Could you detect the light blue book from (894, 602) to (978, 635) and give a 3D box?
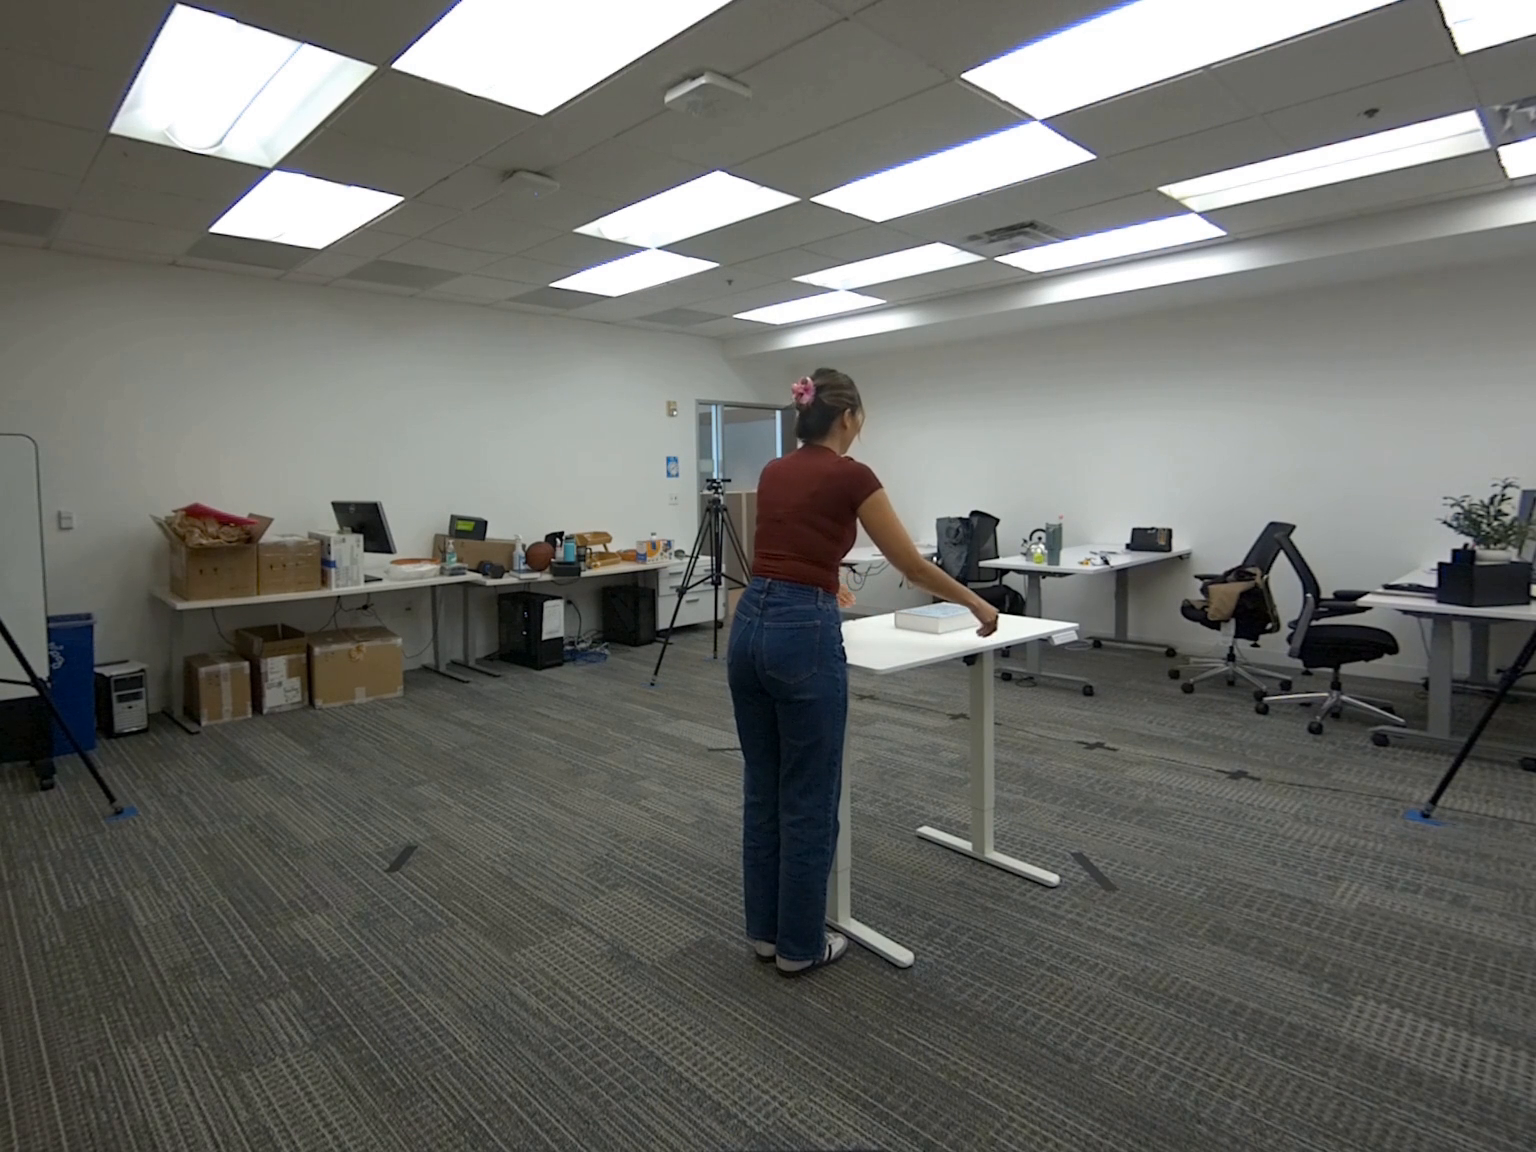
[{"bbox_3d":[0.601,0.145,2.918,0.254,0.059,0.197,-7,8,-40],"label":"light blue book"}]
